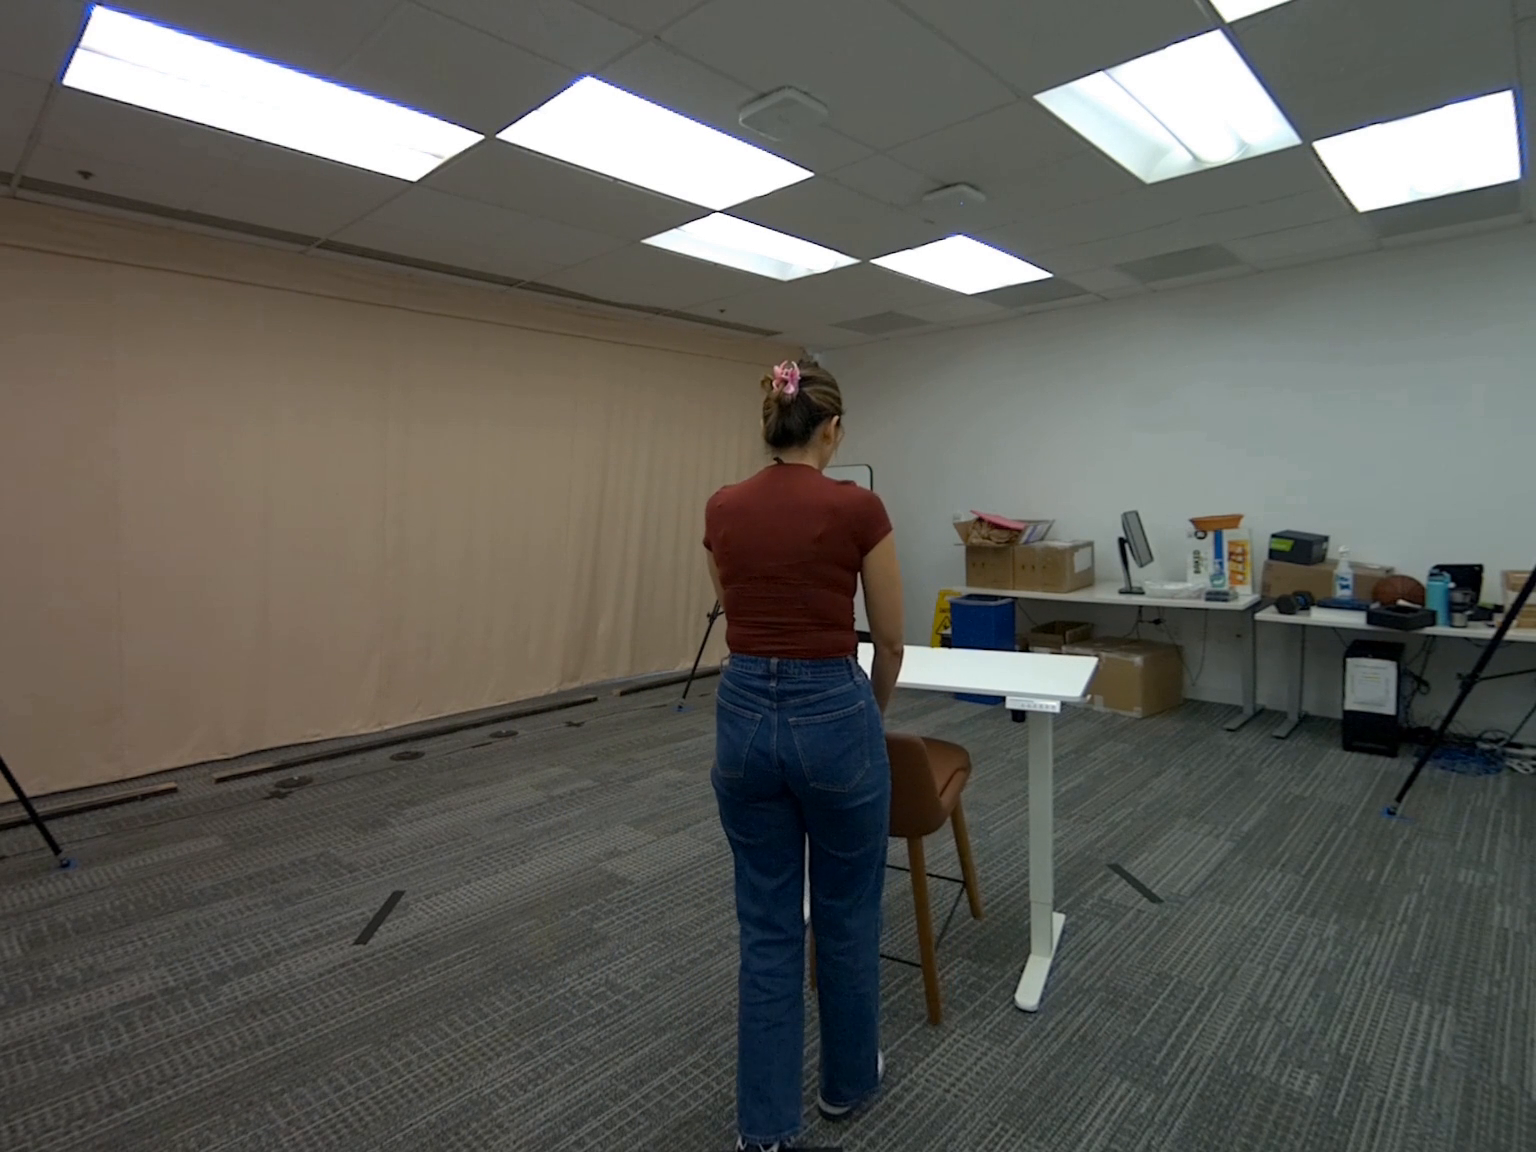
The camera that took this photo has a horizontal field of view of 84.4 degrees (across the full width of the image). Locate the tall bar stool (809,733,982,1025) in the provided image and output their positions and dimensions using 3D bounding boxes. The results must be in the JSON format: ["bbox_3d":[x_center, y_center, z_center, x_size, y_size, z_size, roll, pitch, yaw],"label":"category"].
[{"bbox_3d":[0.332,0.712,2.383,0.470,0.877,0.461,2,21,29],"label":"tall bar stool"}]
